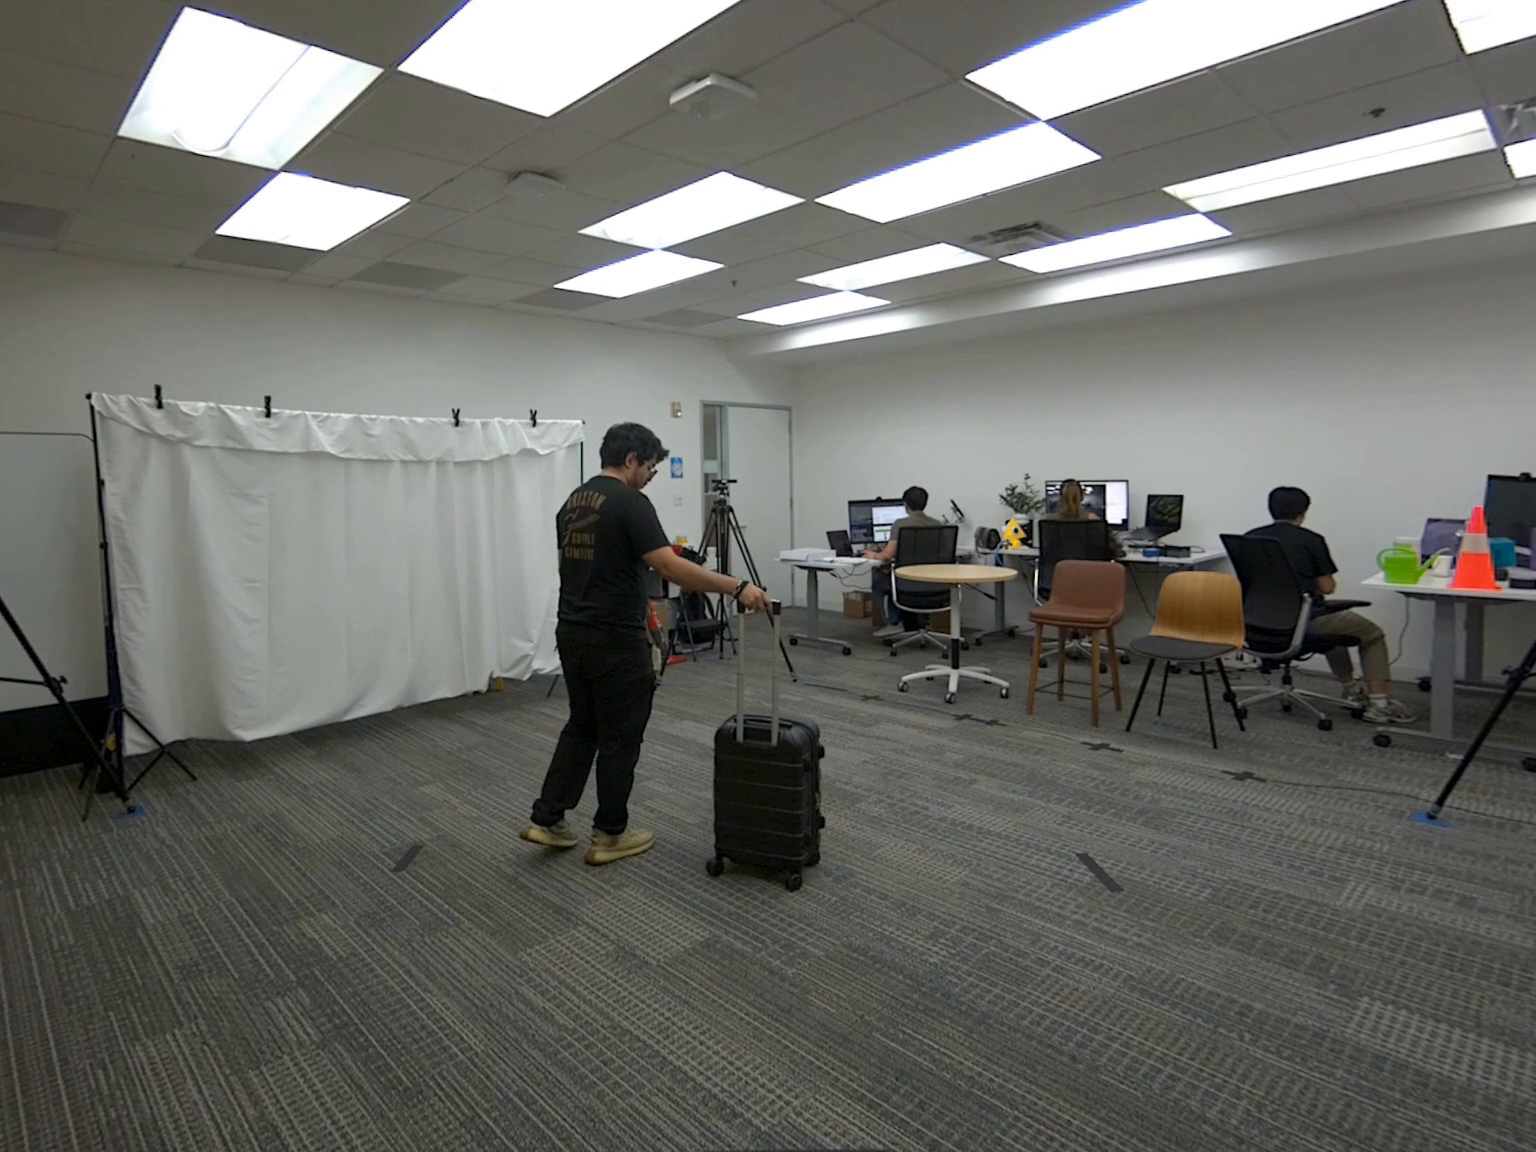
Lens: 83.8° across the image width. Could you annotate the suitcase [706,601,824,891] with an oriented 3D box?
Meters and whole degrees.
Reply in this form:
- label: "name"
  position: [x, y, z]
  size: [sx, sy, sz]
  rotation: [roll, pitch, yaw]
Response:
- label: "suitcase"
  position: [-0.002, 0.577, 3.062]
  size: [0.392, 0.978, 0.252]
  rotation: [1, 0, 21]
